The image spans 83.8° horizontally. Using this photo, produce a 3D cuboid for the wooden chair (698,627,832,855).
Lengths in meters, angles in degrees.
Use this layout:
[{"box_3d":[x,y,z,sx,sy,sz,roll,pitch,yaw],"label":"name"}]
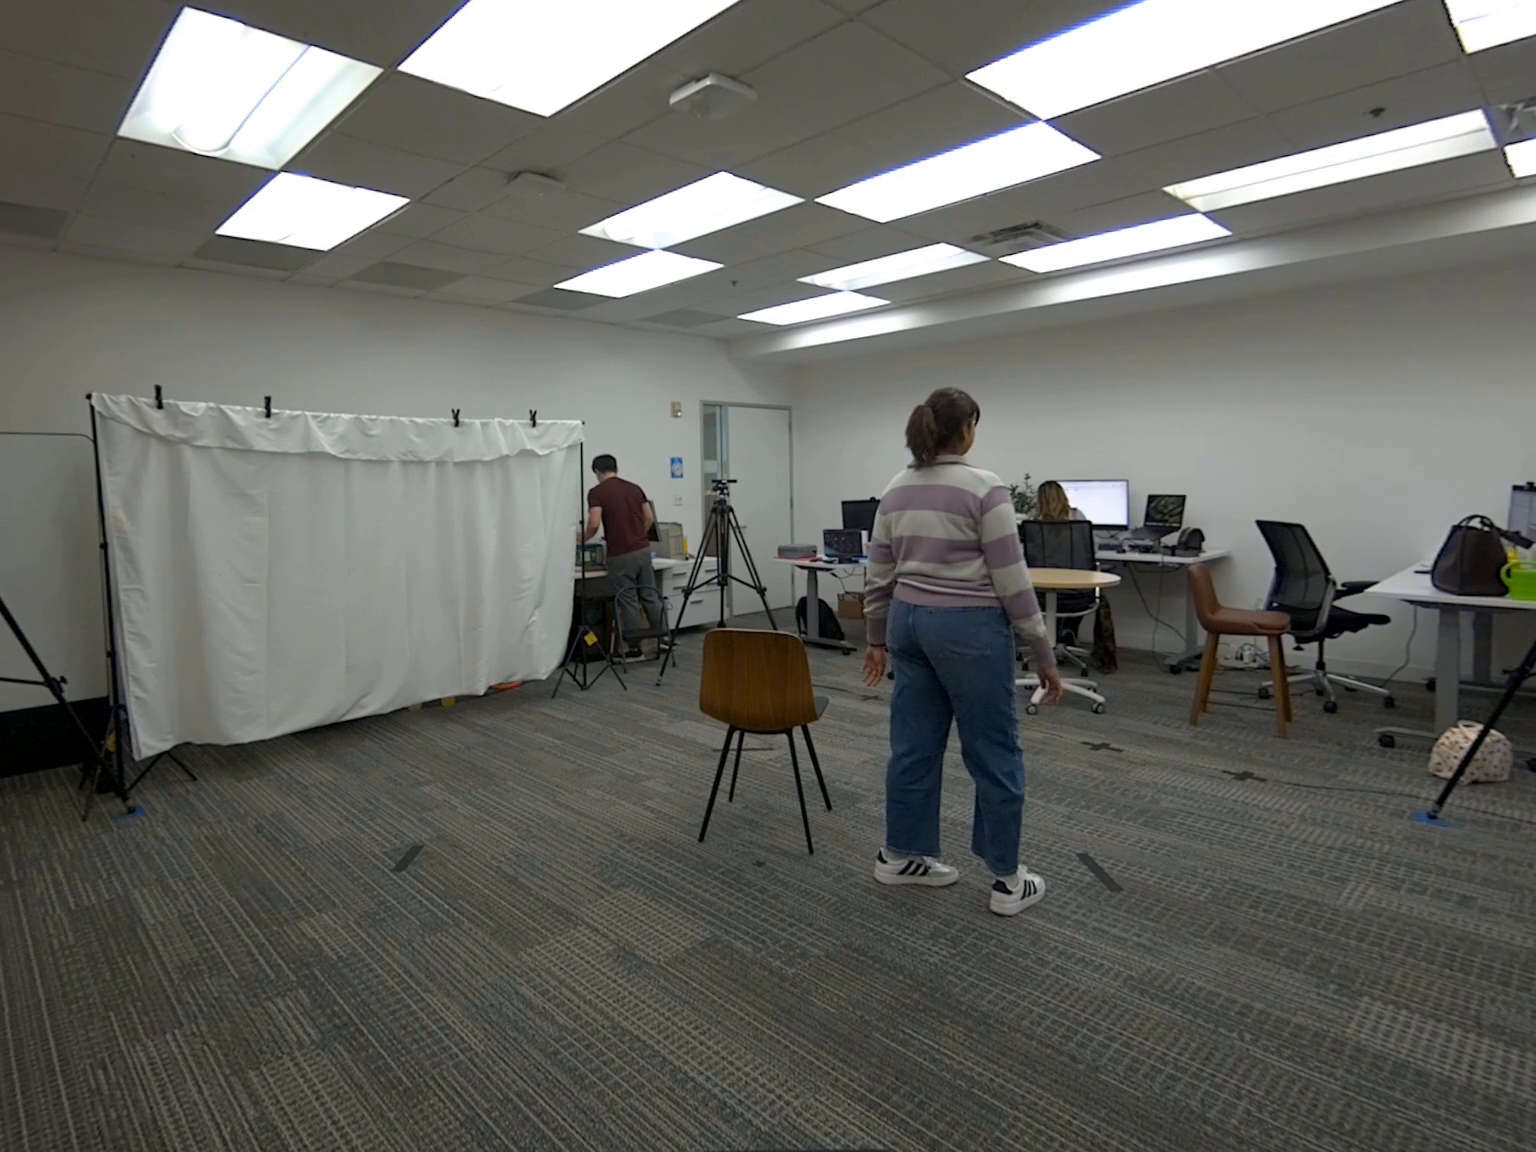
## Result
[{"box_3d":[-0.004,0.584,3.430,0.485,0.871,0.519,0,8,15],"label":"wooden chair"}]
